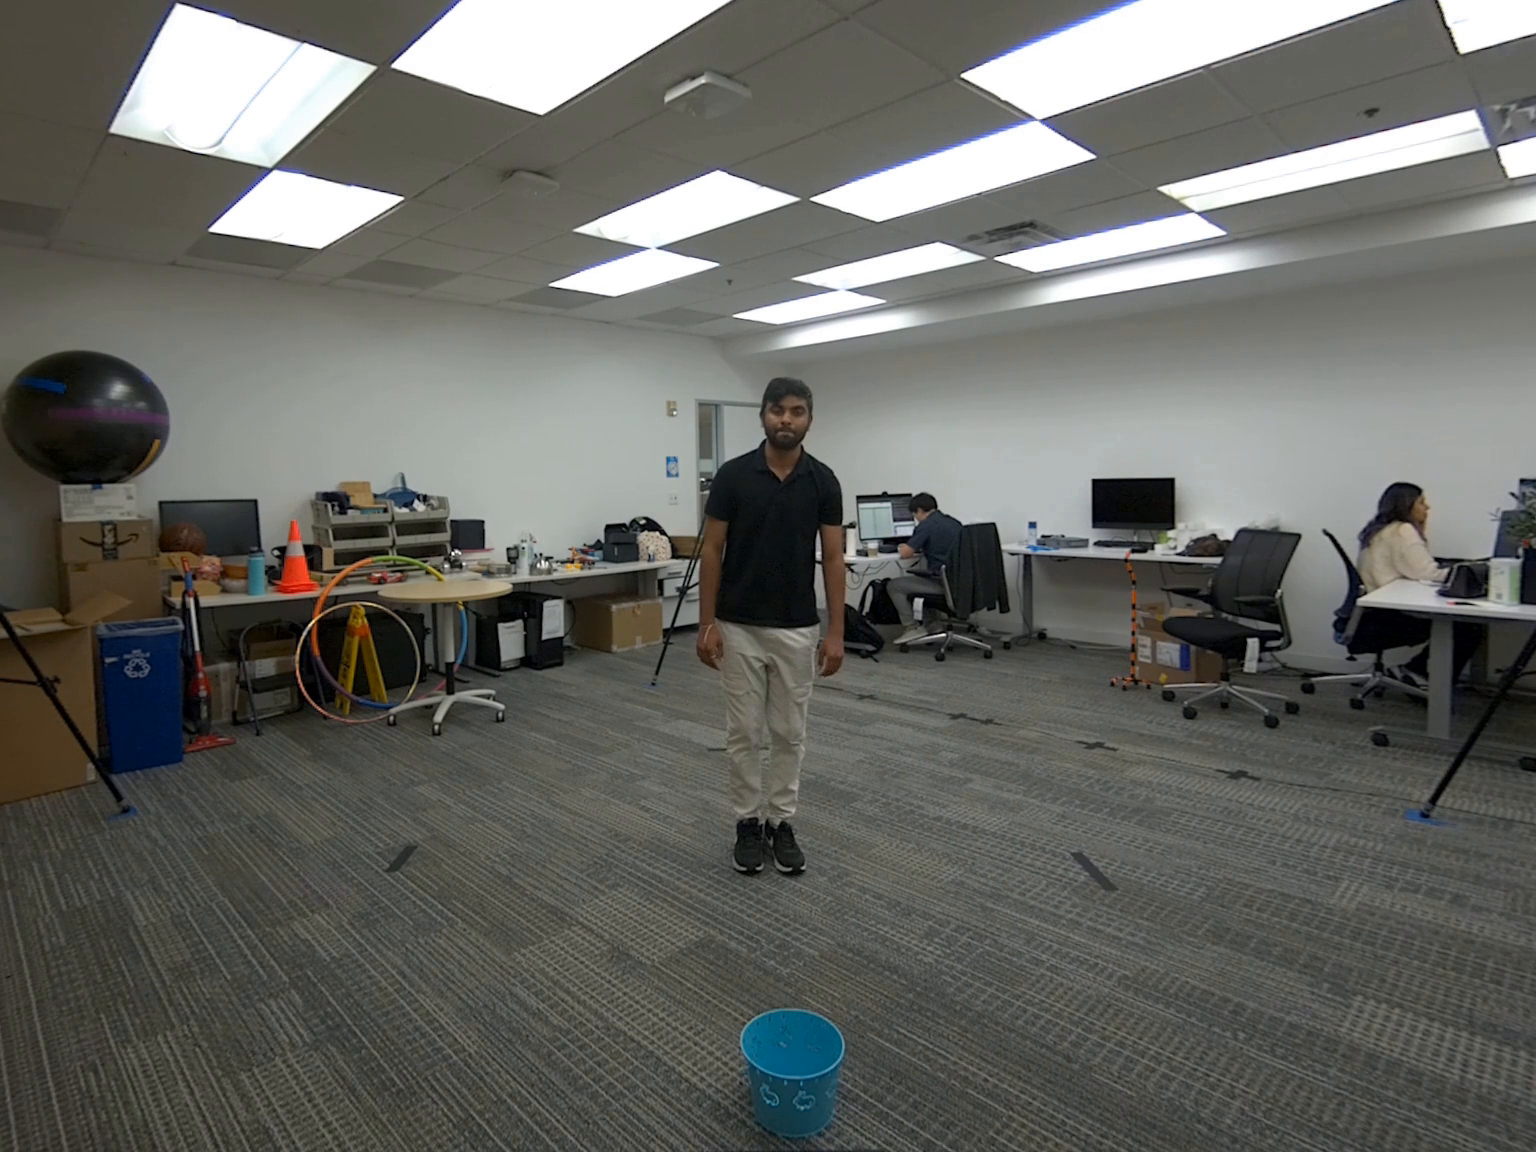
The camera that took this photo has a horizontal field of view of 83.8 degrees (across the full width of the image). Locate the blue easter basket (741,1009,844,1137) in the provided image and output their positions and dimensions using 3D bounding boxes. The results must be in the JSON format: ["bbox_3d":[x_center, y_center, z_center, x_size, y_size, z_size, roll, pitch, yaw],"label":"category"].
[{"bbox_3d":[0.061,1.109,1.906,0.243,0.155,0.245,-1,6,-2],"label":"blue easter basket"}]
